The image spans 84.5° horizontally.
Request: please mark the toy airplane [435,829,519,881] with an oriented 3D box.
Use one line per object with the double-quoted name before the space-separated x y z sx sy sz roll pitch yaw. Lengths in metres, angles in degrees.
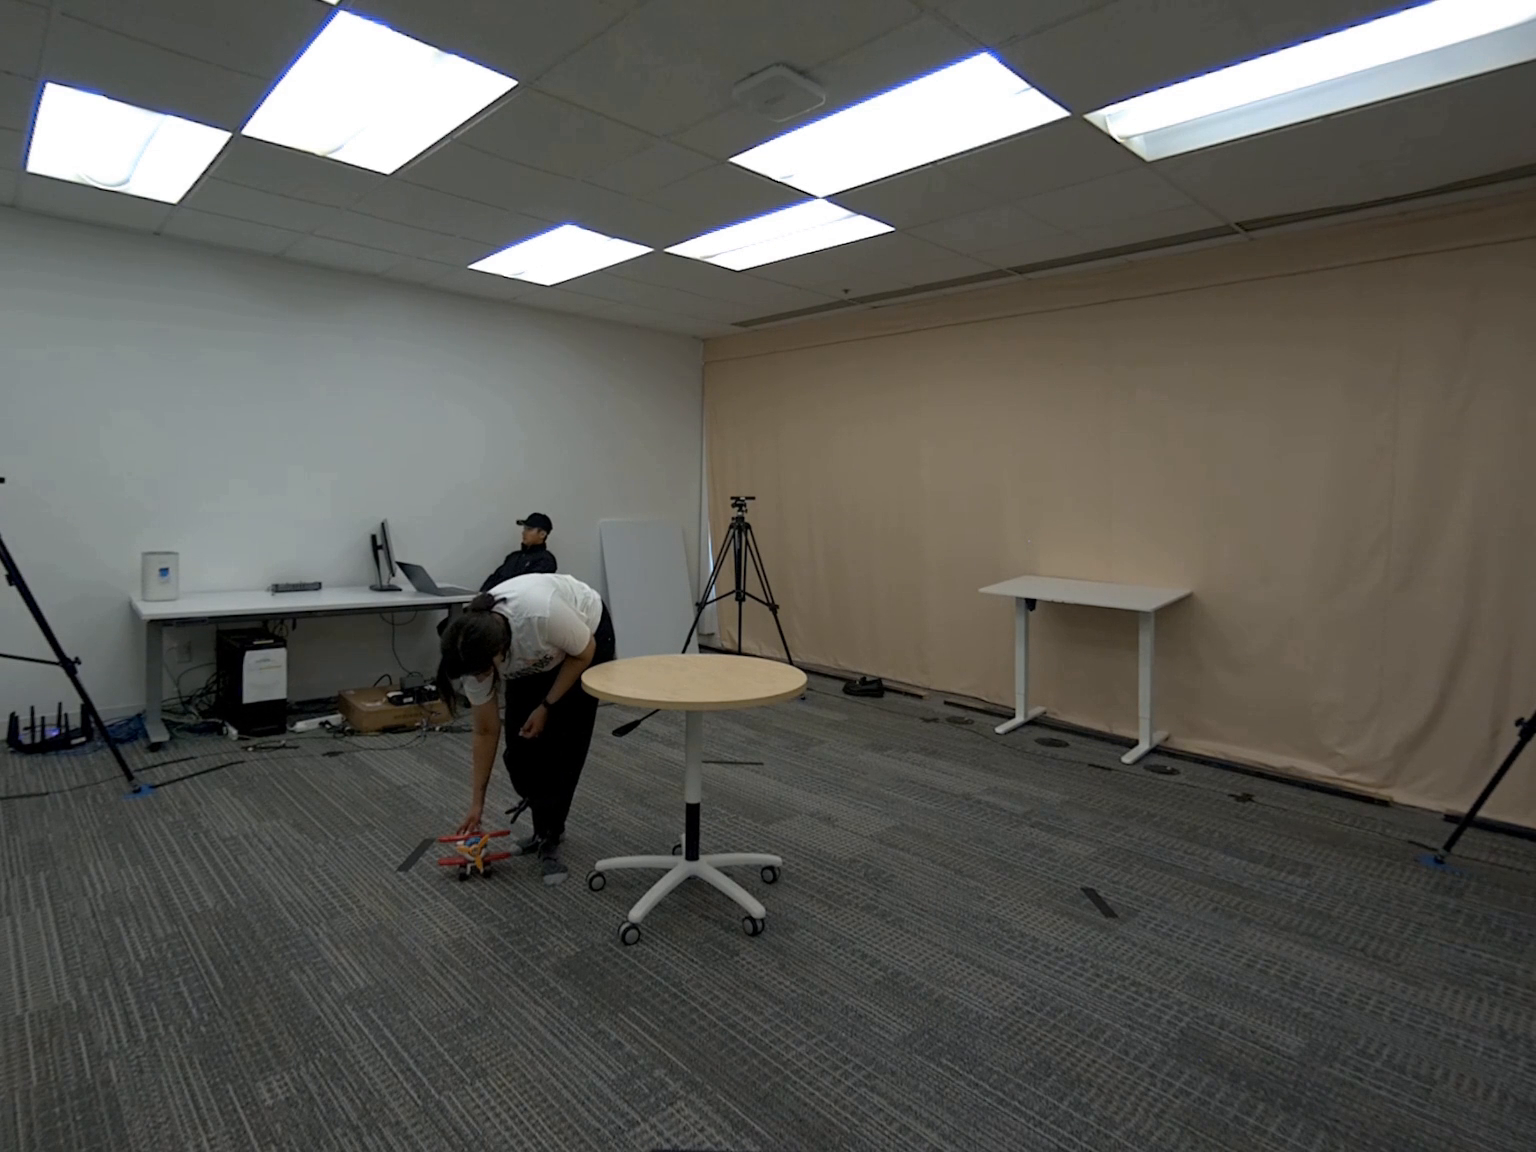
"toy airplane" -1.107 1.013 3.097 0.266 0.156 0.246 6 8 44
